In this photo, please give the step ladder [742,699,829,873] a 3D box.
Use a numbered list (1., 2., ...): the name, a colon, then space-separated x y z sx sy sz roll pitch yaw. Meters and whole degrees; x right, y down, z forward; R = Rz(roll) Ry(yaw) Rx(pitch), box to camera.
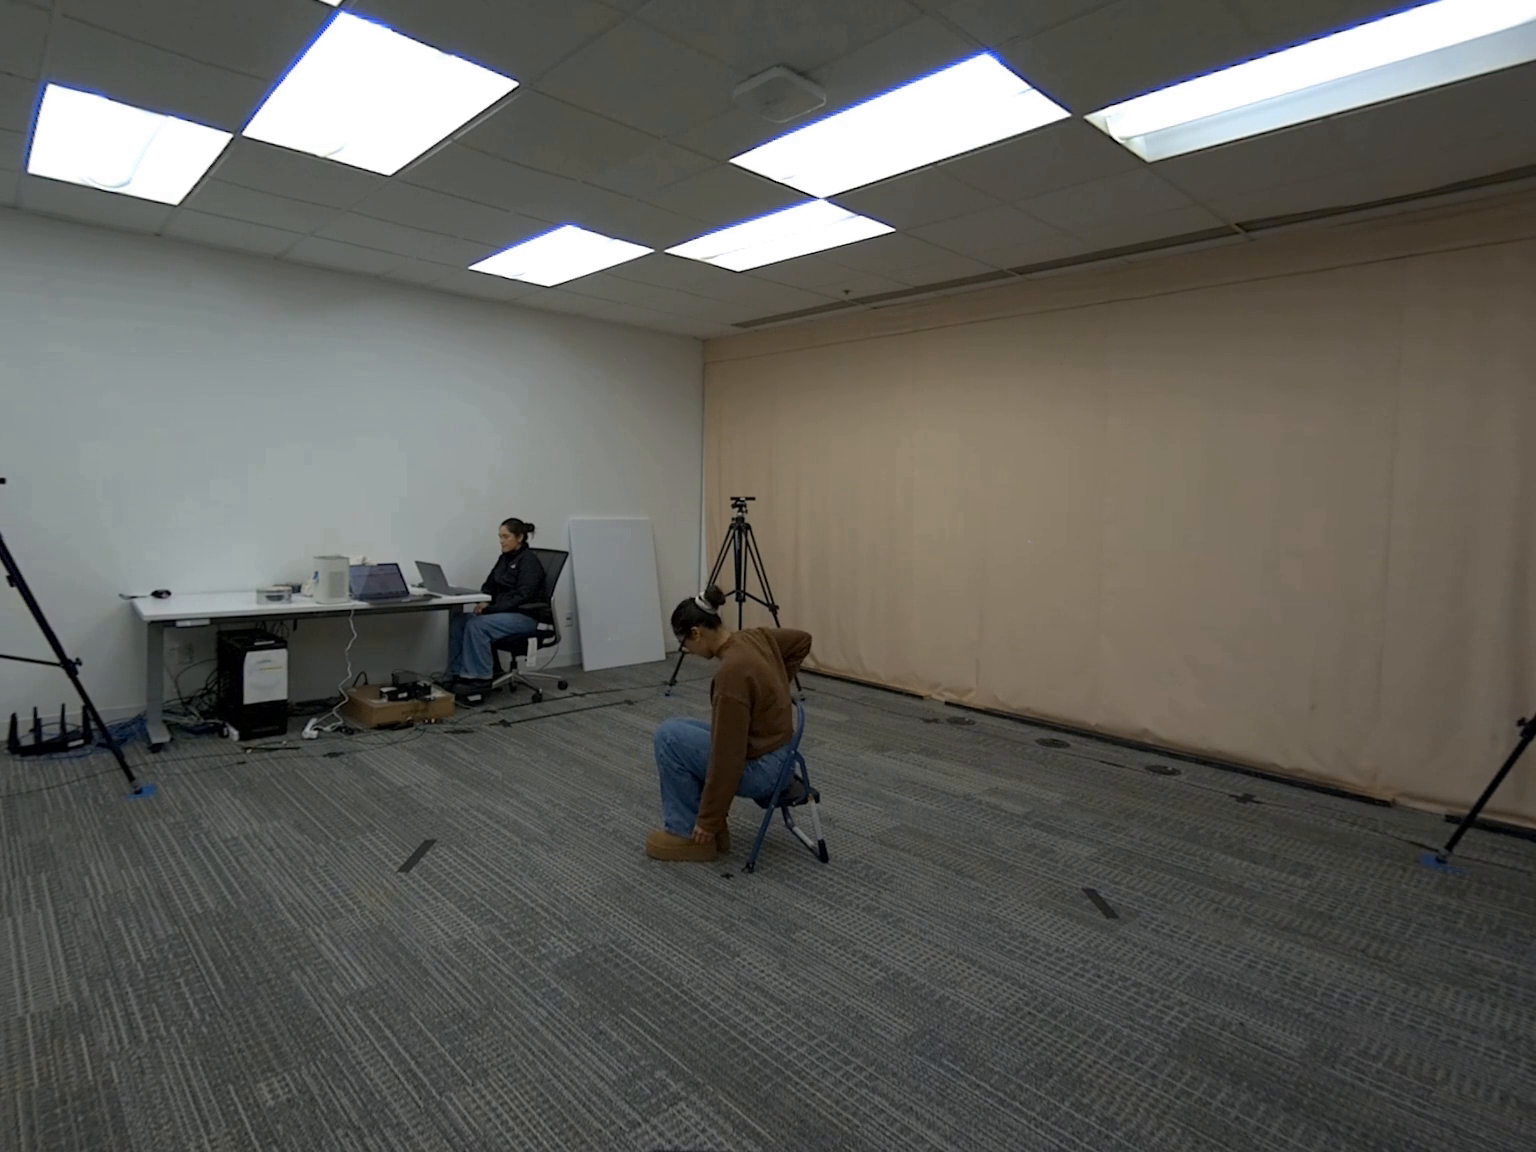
1. step ladder: 0.005 0.790 3.364 0.344 0.604 0.438 0 4 -19
